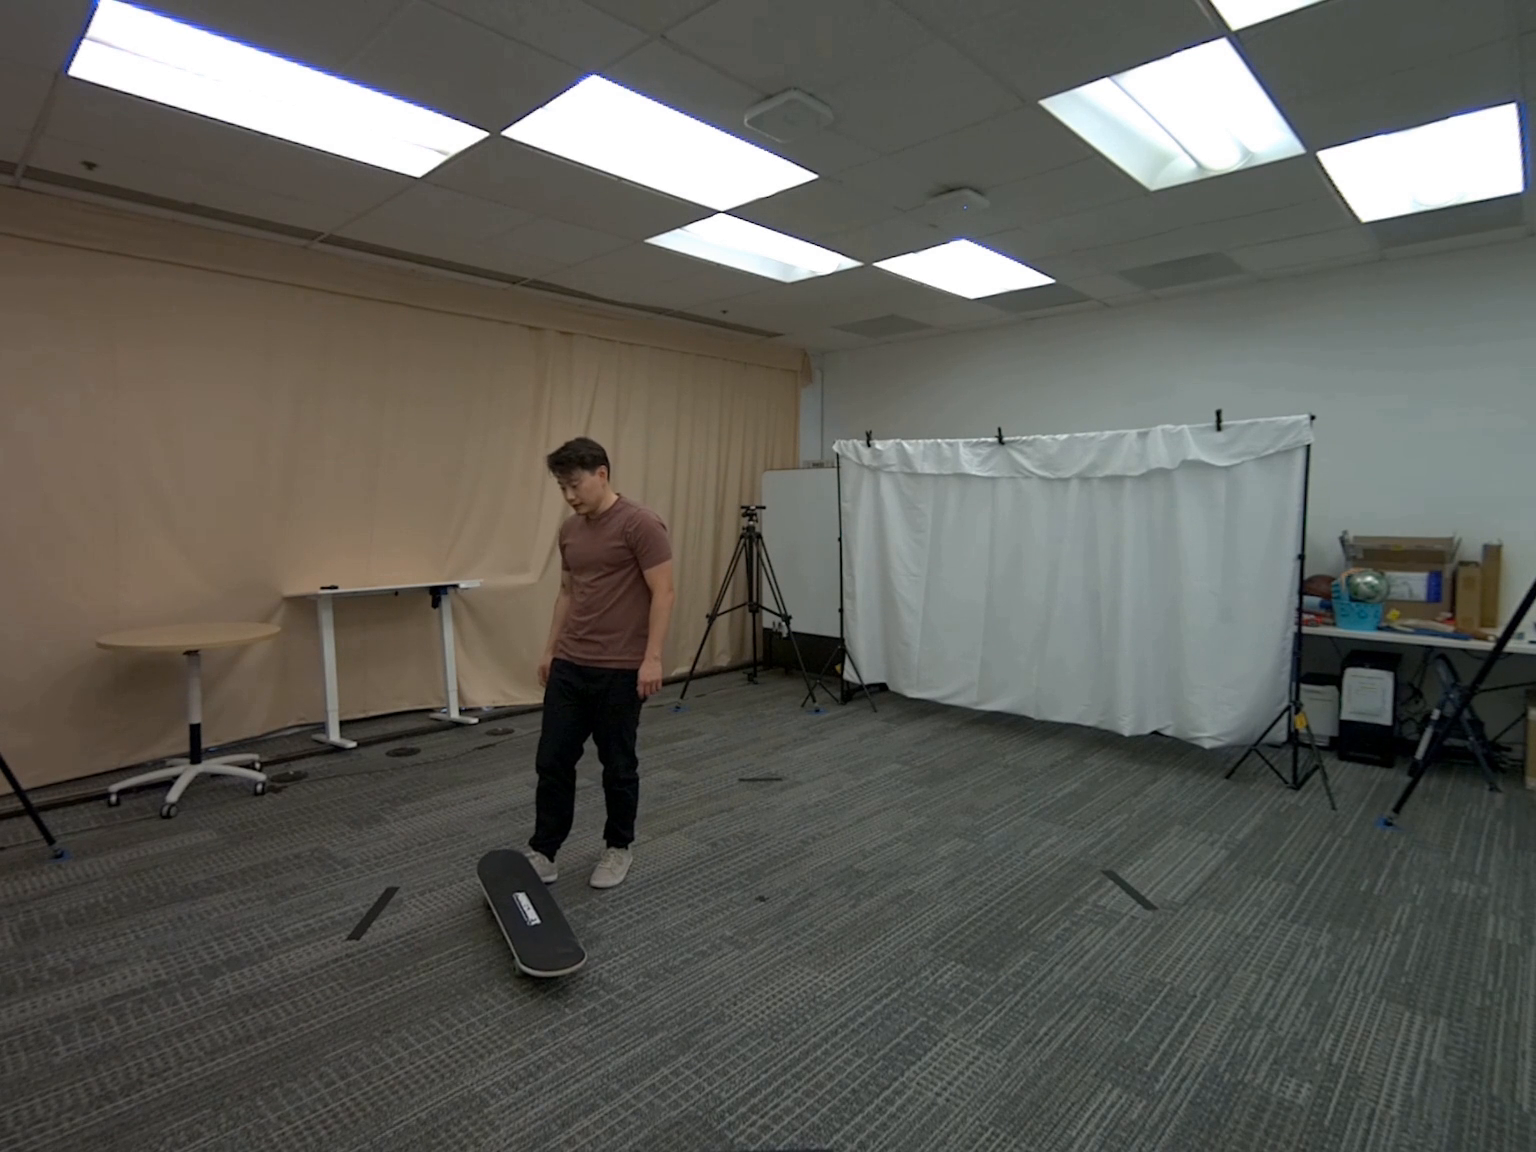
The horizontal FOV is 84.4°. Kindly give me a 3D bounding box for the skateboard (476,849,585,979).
[{"bbox_3d":[-0.774,1.099,2.714,0.188,0.110,0.810,-2,9,-29],"label":"skateboard"}]
